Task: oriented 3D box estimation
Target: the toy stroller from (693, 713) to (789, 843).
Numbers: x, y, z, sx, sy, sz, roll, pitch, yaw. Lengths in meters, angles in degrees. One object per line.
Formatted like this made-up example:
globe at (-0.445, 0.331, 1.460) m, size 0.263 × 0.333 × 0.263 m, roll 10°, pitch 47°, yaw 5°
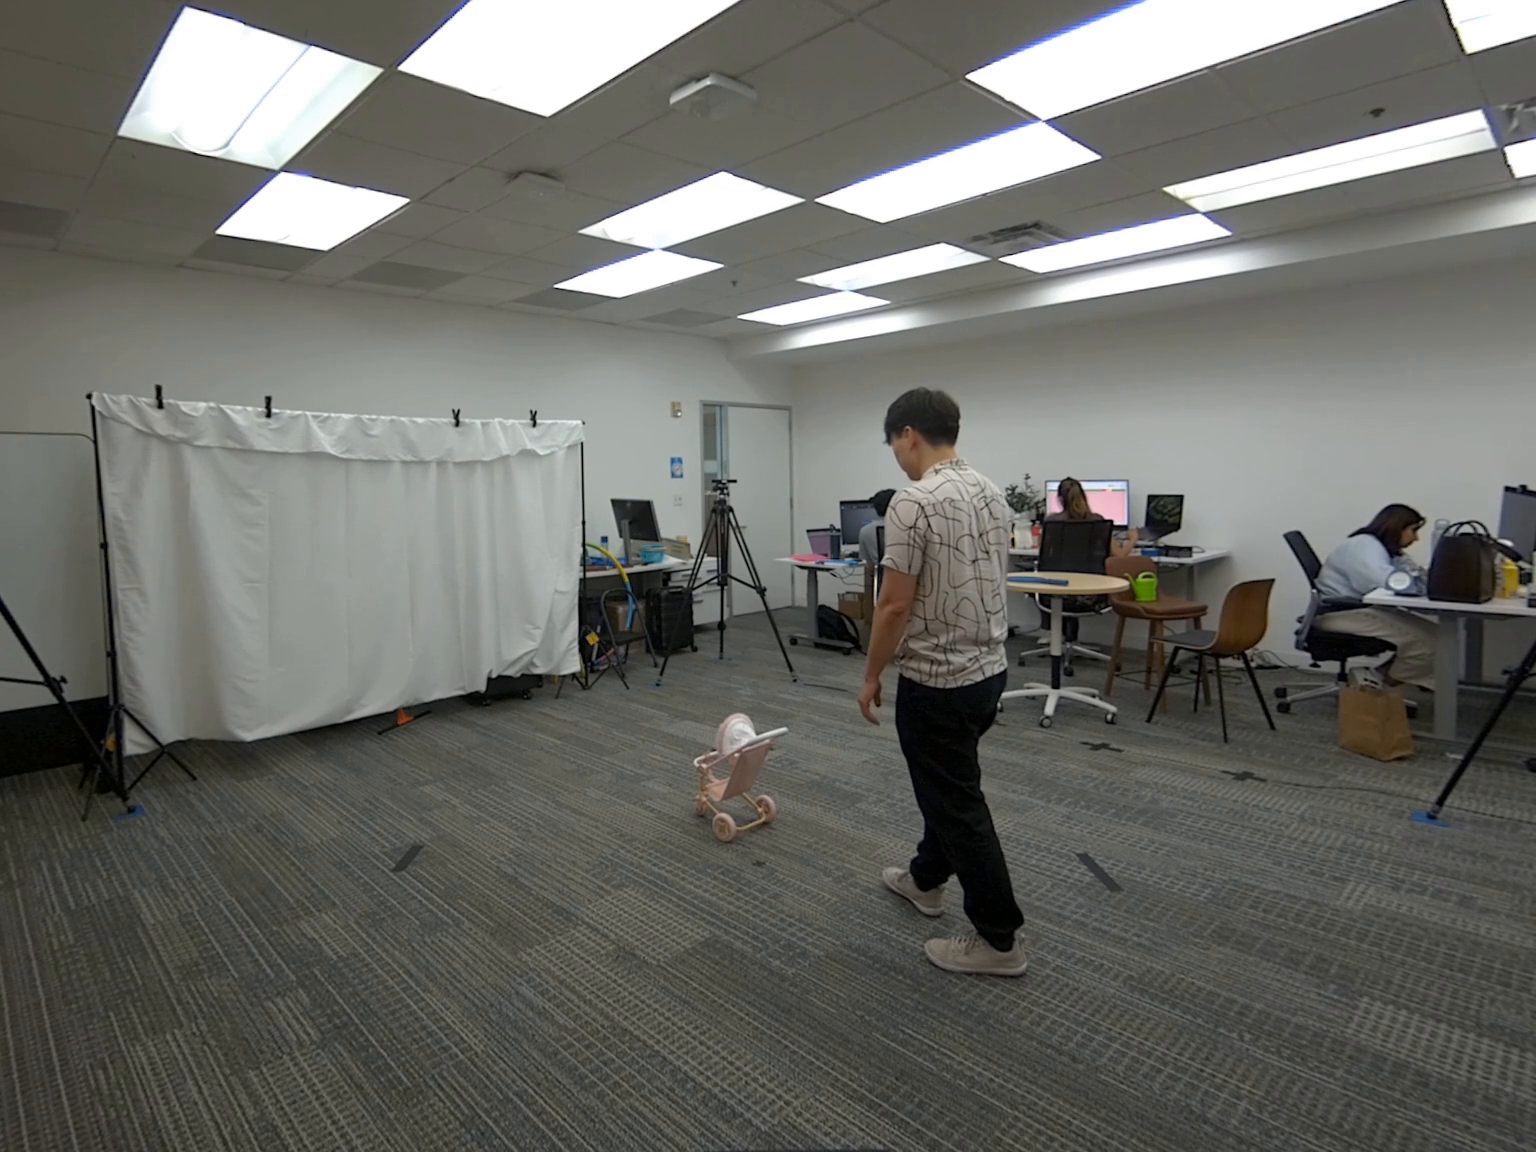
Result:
toy stroller at (-0.139, 0.788, 3.432) m, size 0.274 × 0.529 × 0.354 m, roll -3°, pitch 20°, yaw -44°
